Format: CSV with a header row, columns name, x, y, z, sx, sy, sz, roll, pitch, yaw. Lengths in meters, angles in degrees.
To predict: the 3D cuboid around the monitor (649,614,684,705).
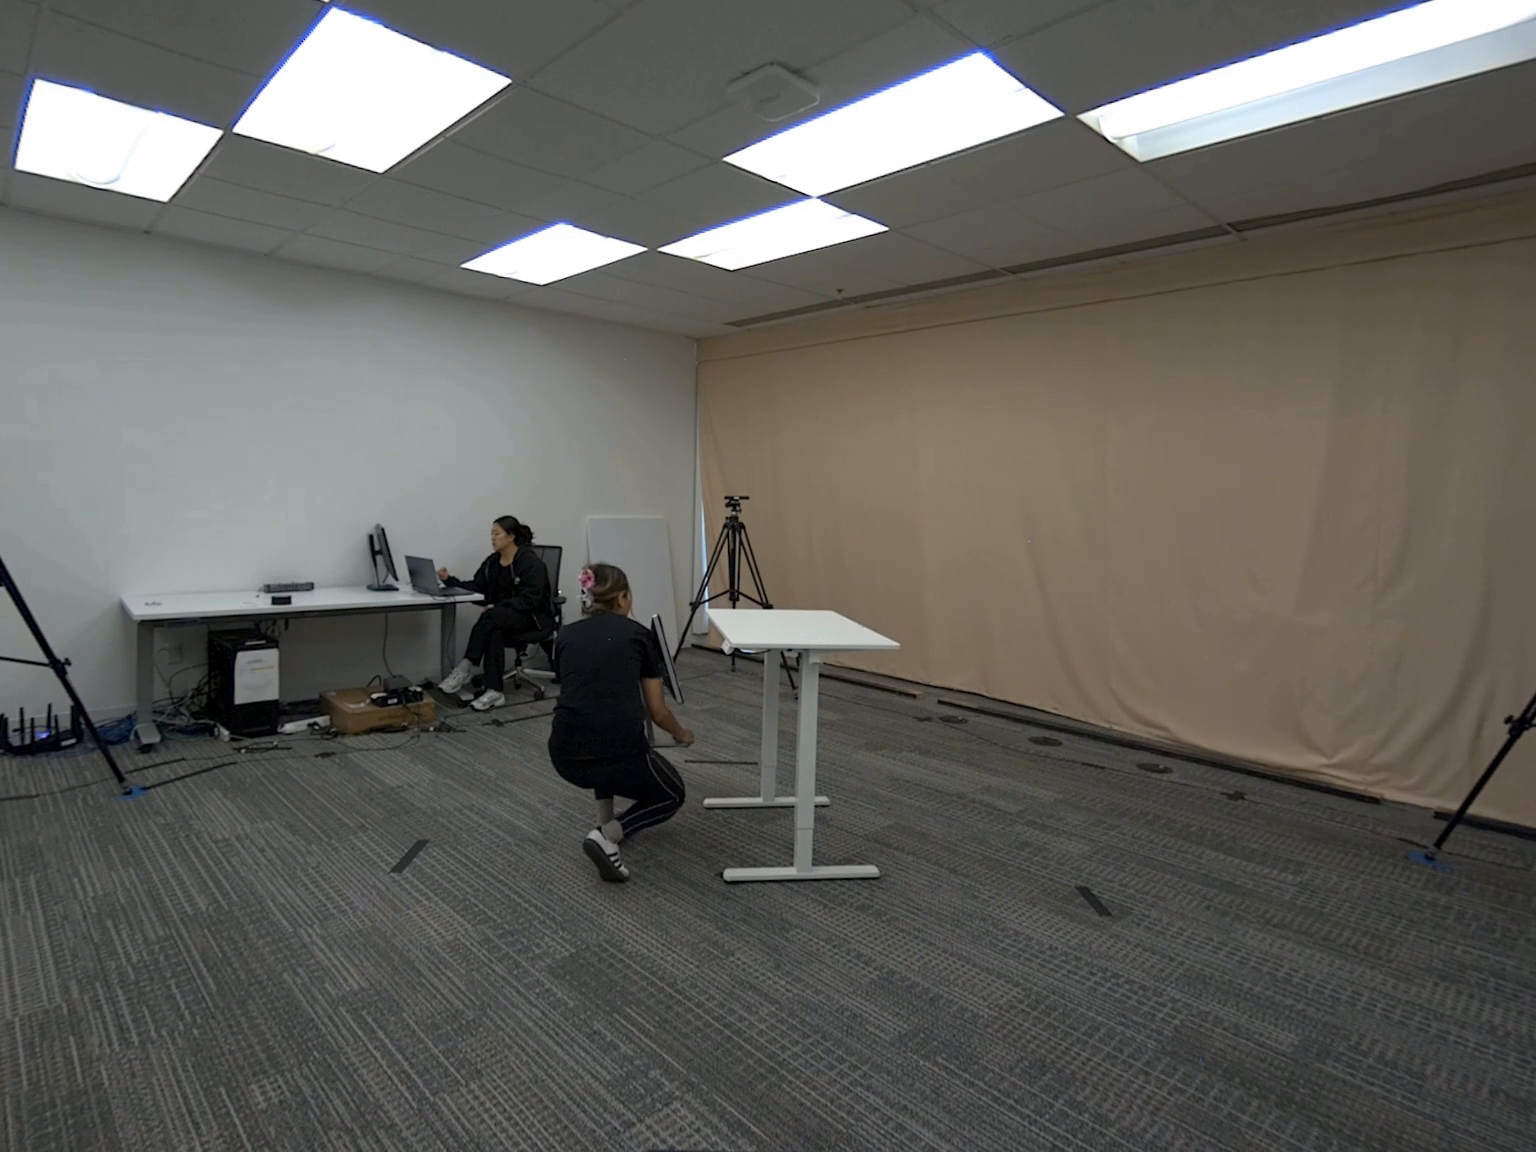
name,x,y,z,sx,sy,sz,roll,pitch,yaw
monitor,-0.453,0.432,3.562,0.186,0.524,0.541,-3,-2,-9
